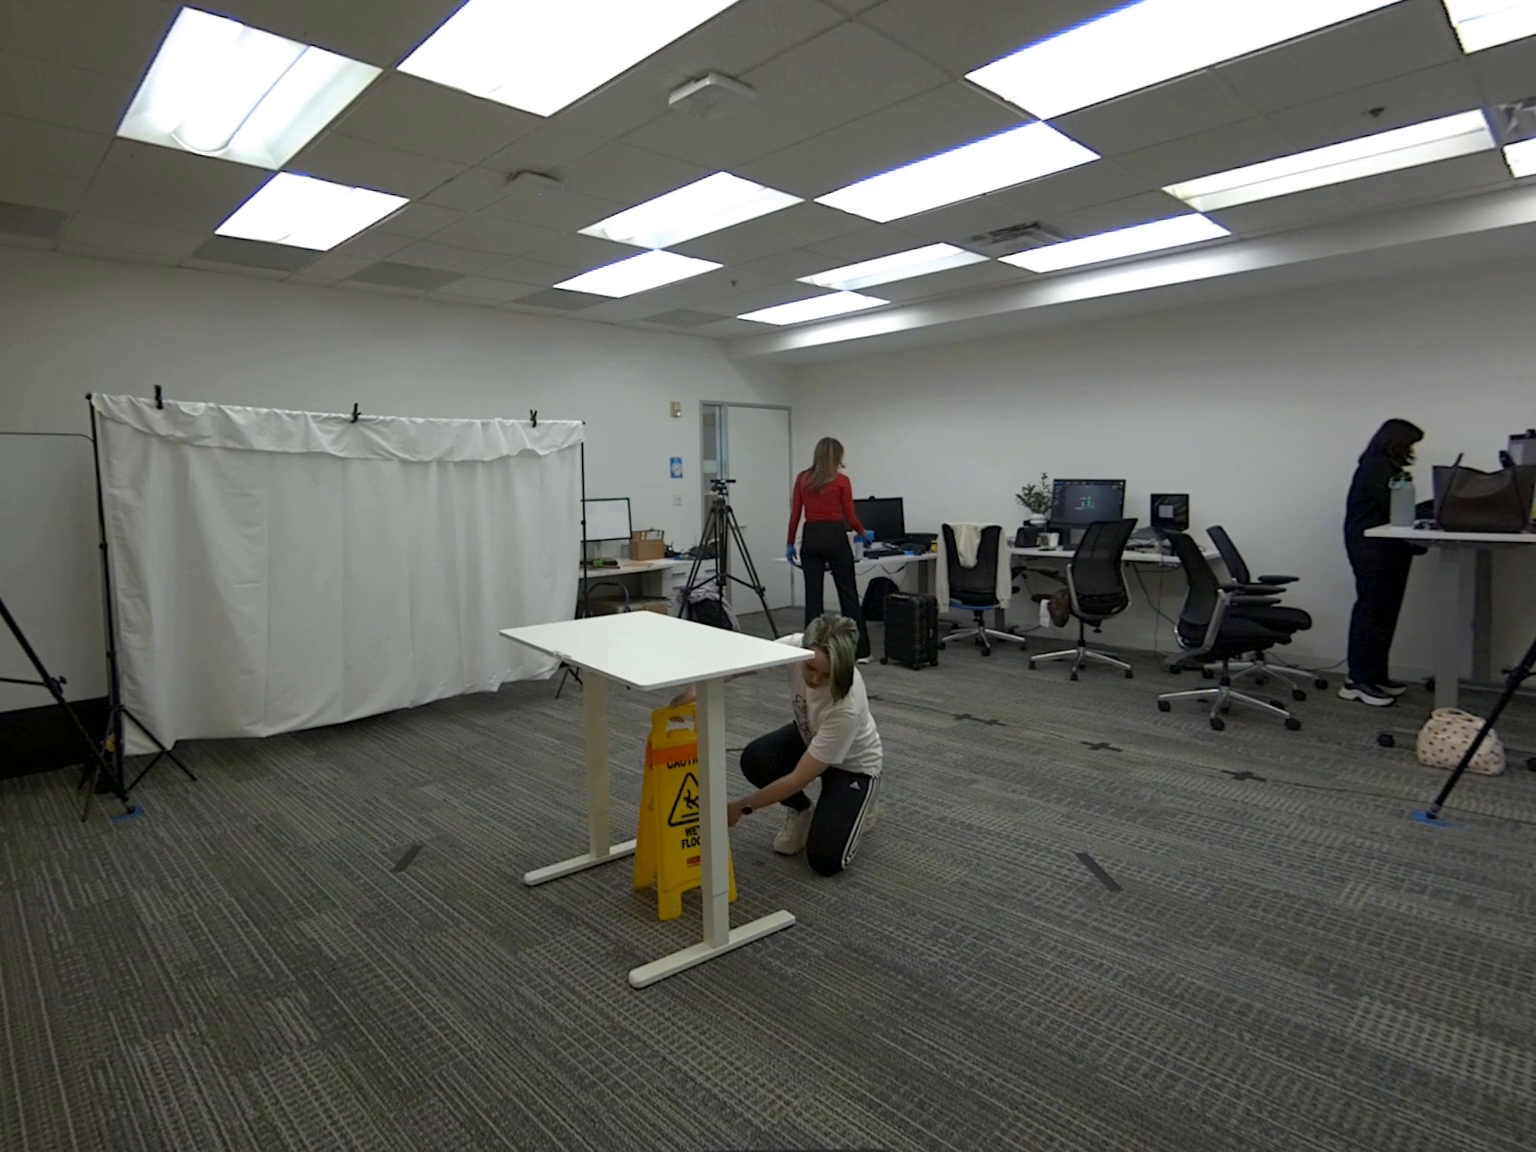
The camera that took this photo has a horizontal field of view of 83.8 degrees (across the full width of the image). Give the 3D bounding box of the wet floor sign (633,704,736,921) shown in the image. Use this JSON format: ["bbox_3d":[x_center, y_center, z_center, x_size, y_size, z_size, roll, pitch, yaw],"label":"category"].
[{"bbox_3d":[-0.291,0.753,2.865,0.276,0.644,0.297,-3,4,-28],"label":"wet floor sign"}]
